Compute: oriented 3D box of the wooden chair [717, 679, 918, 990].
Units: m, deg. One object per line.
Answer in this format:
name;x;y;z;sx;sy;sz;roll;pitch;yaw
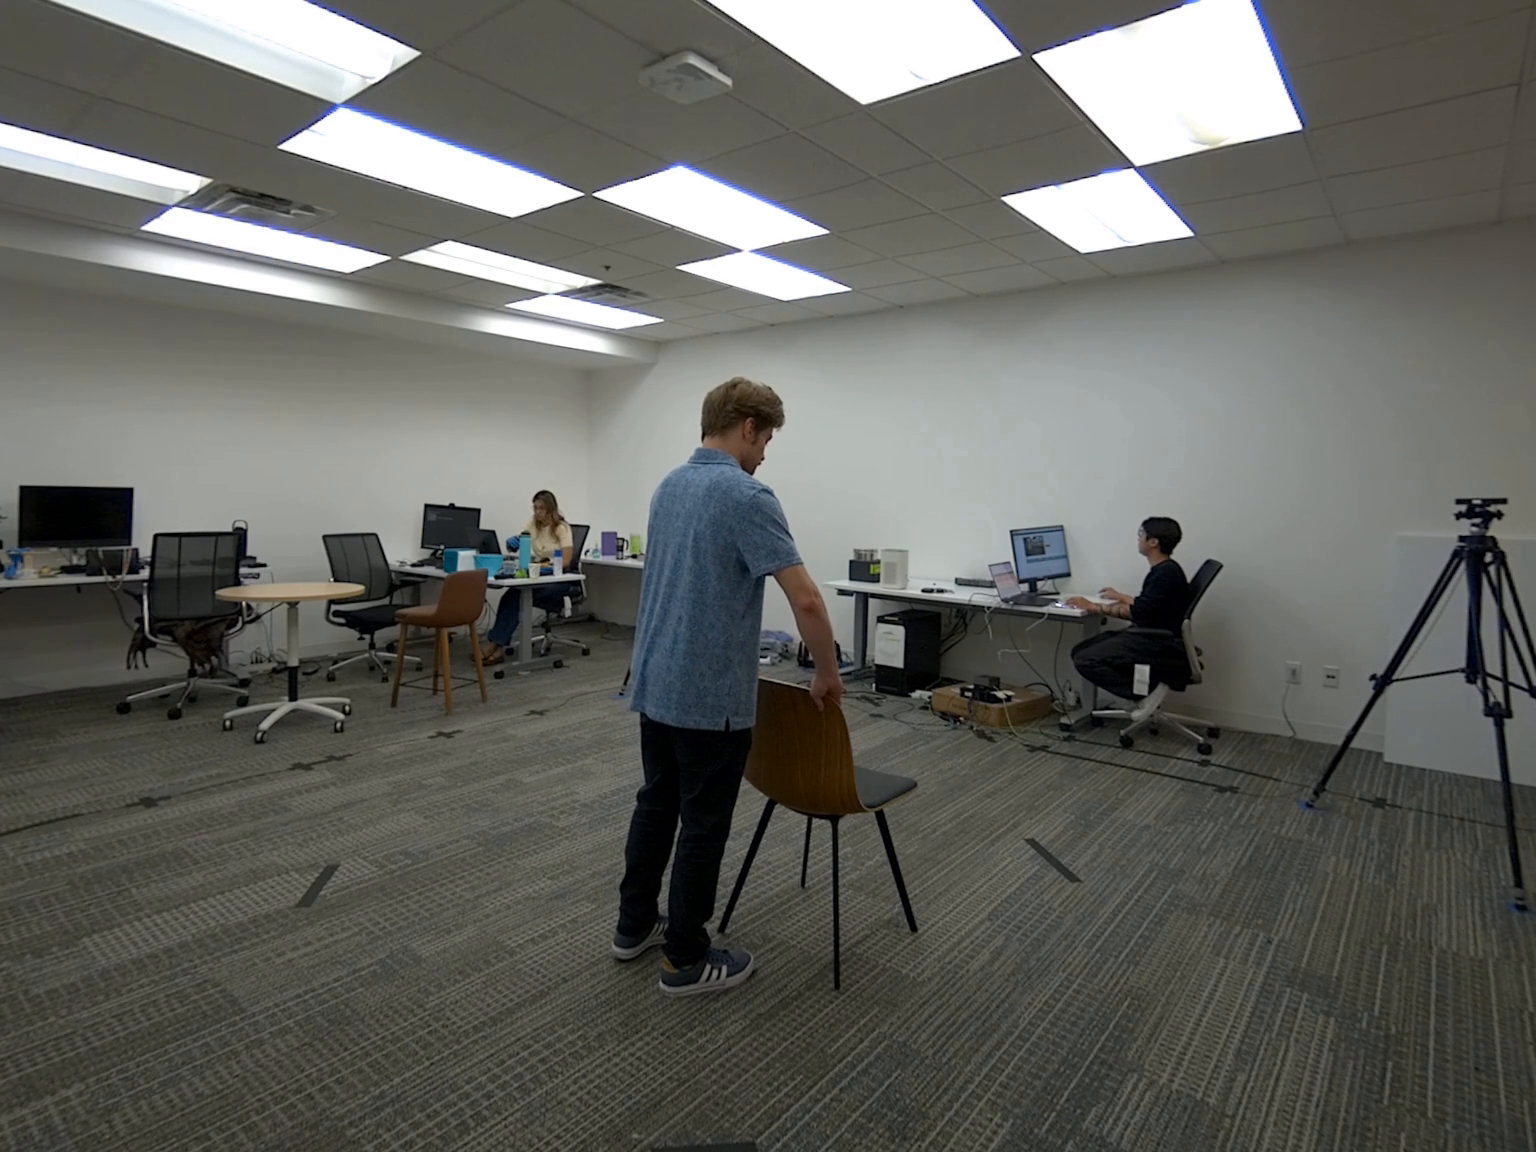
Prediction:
wooden chair;0.165;0.691;2.666;0.494;0.872;0.509;4;8;40
